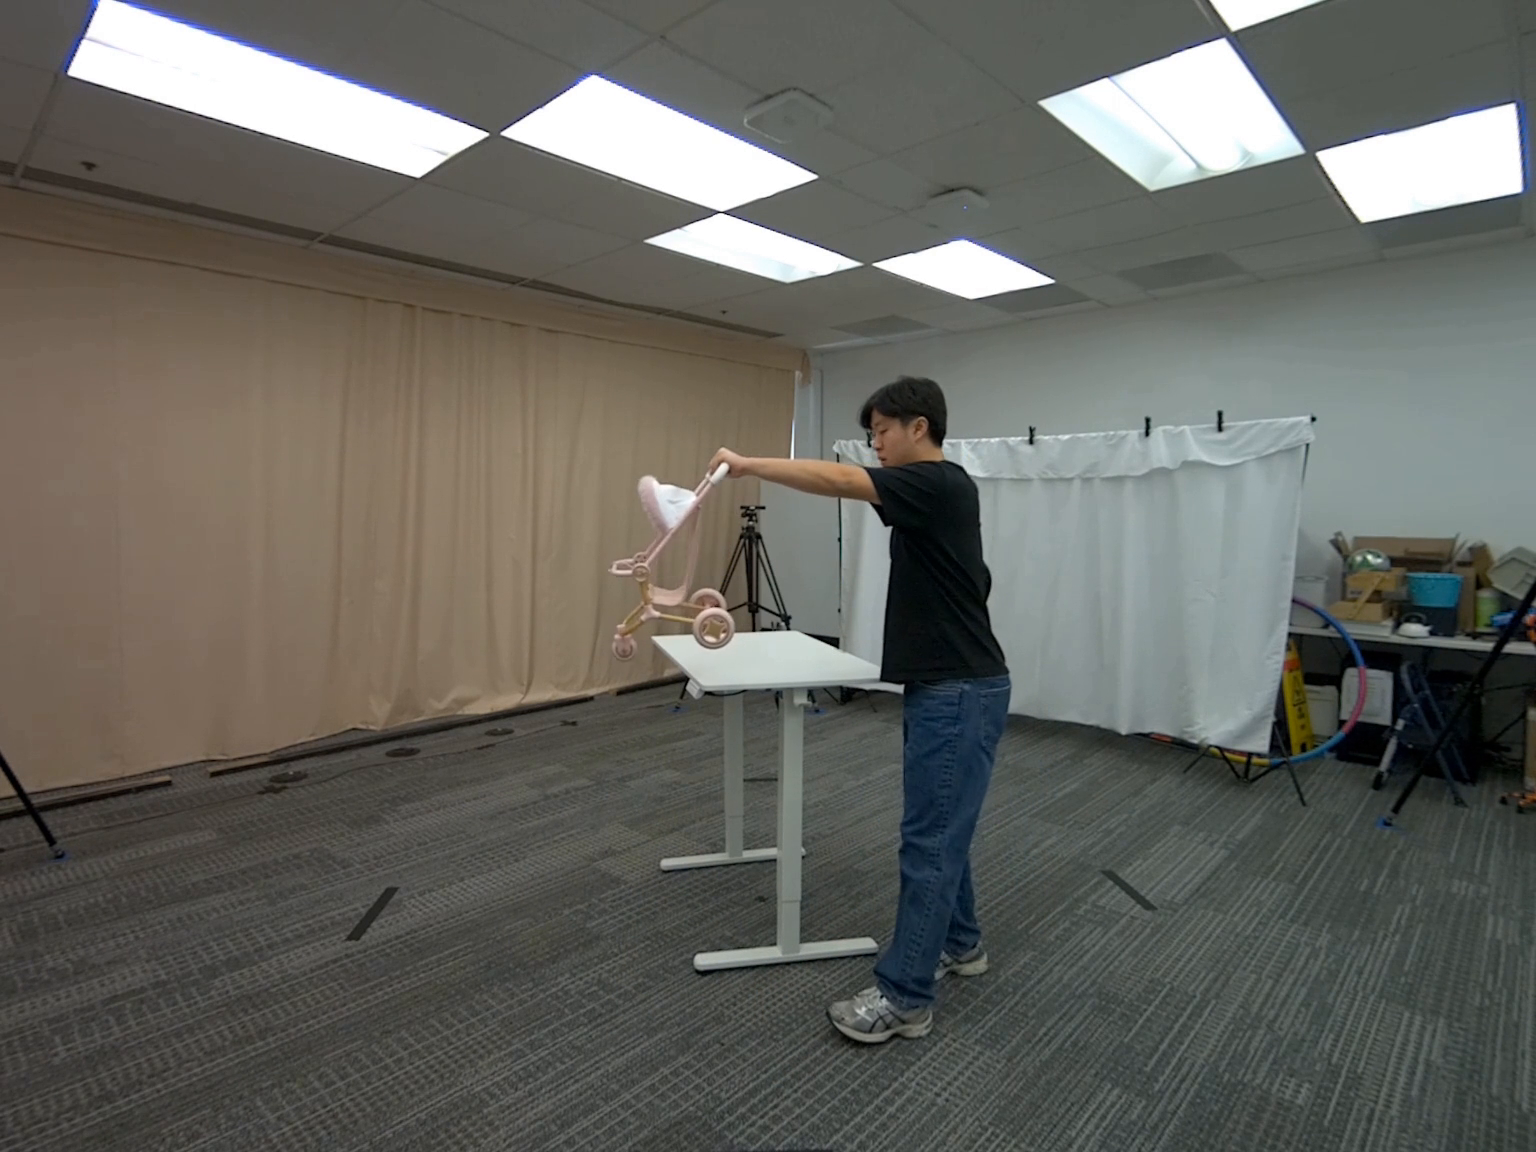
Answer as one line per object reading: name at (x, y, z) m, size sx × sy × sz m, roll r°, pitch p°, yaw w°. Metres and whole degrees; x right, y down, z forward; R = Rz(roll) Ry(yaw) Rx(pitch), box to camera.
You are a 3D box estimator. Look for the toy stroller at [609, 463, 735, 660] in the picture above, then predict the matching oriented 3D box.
toy stroller at (-0.272, -0.032, 2.276) m, size 0.341 × 0.532 × 0.283 m, roll -2°, pitch 8°, yaw -1°
